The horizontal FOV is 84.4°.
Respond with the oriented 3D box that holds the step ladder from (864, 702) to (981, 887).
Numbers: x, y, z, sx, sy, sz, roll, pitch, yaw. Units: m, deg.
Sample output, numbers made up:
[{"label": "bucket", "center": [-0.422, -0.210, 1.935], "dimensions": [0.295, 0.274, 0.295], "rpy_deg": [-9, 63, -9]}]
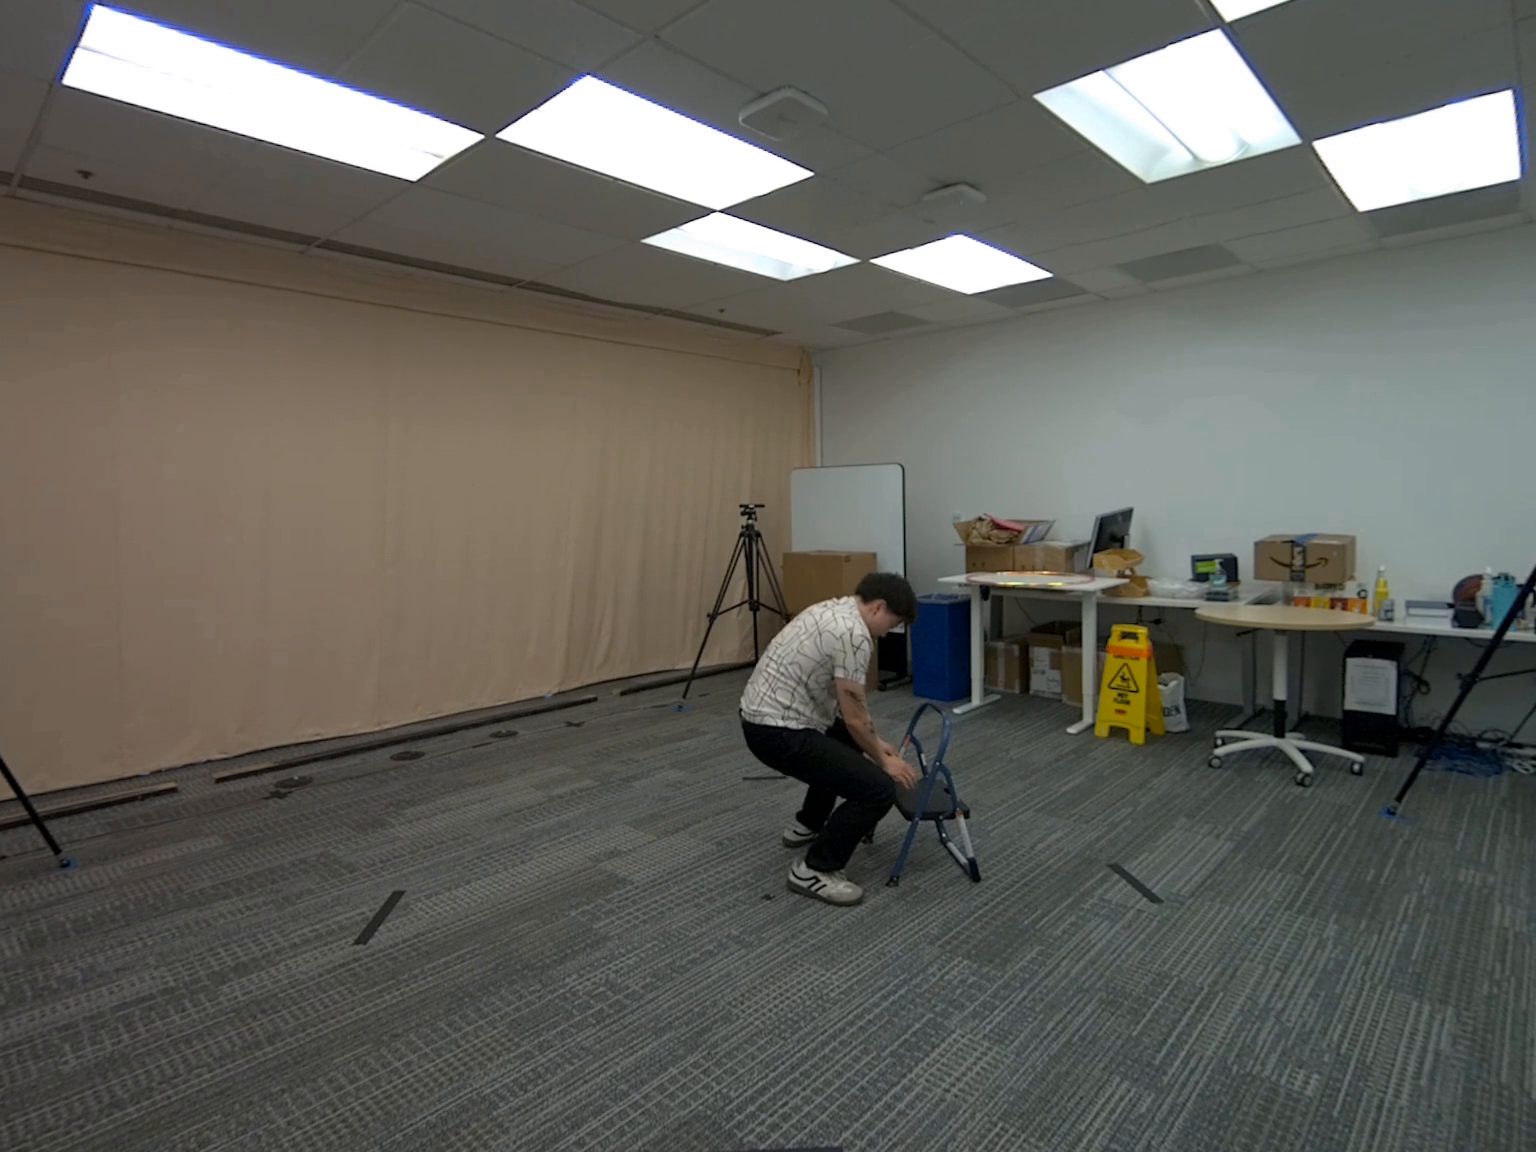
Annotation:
[{"label": "step ladder", "center": [0.589, 0.804, 3.250], "dimensions": [0.348, 0.605, 0.434], "rpy_deg": [-1, 3, -5]}]
